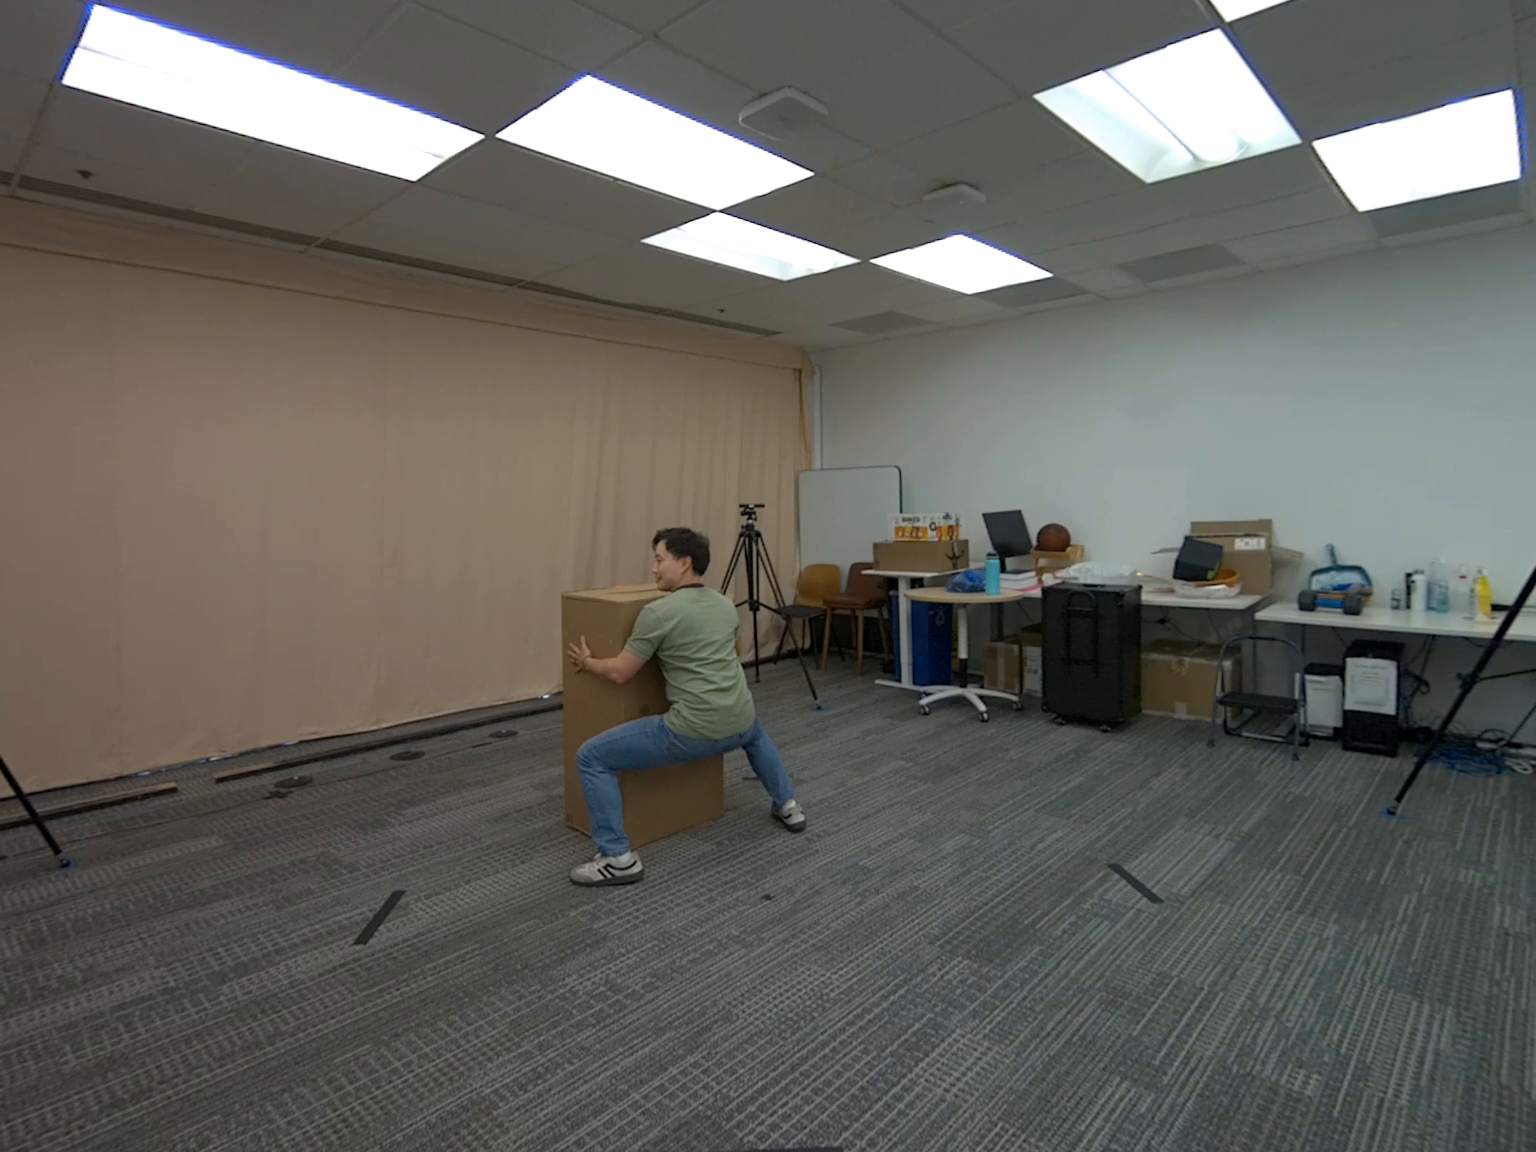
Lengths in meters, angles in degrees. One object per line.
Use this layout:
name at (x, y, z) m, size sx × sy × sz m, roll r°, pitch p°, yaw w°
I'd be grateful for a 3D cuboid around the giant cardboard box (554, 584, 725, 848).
giant cardboard box at (-0.550, 0.576, 3.706) m, size 0.440 × 1.023 × 0.560 m, roll 4°, pitch 5°, yaw 44°
